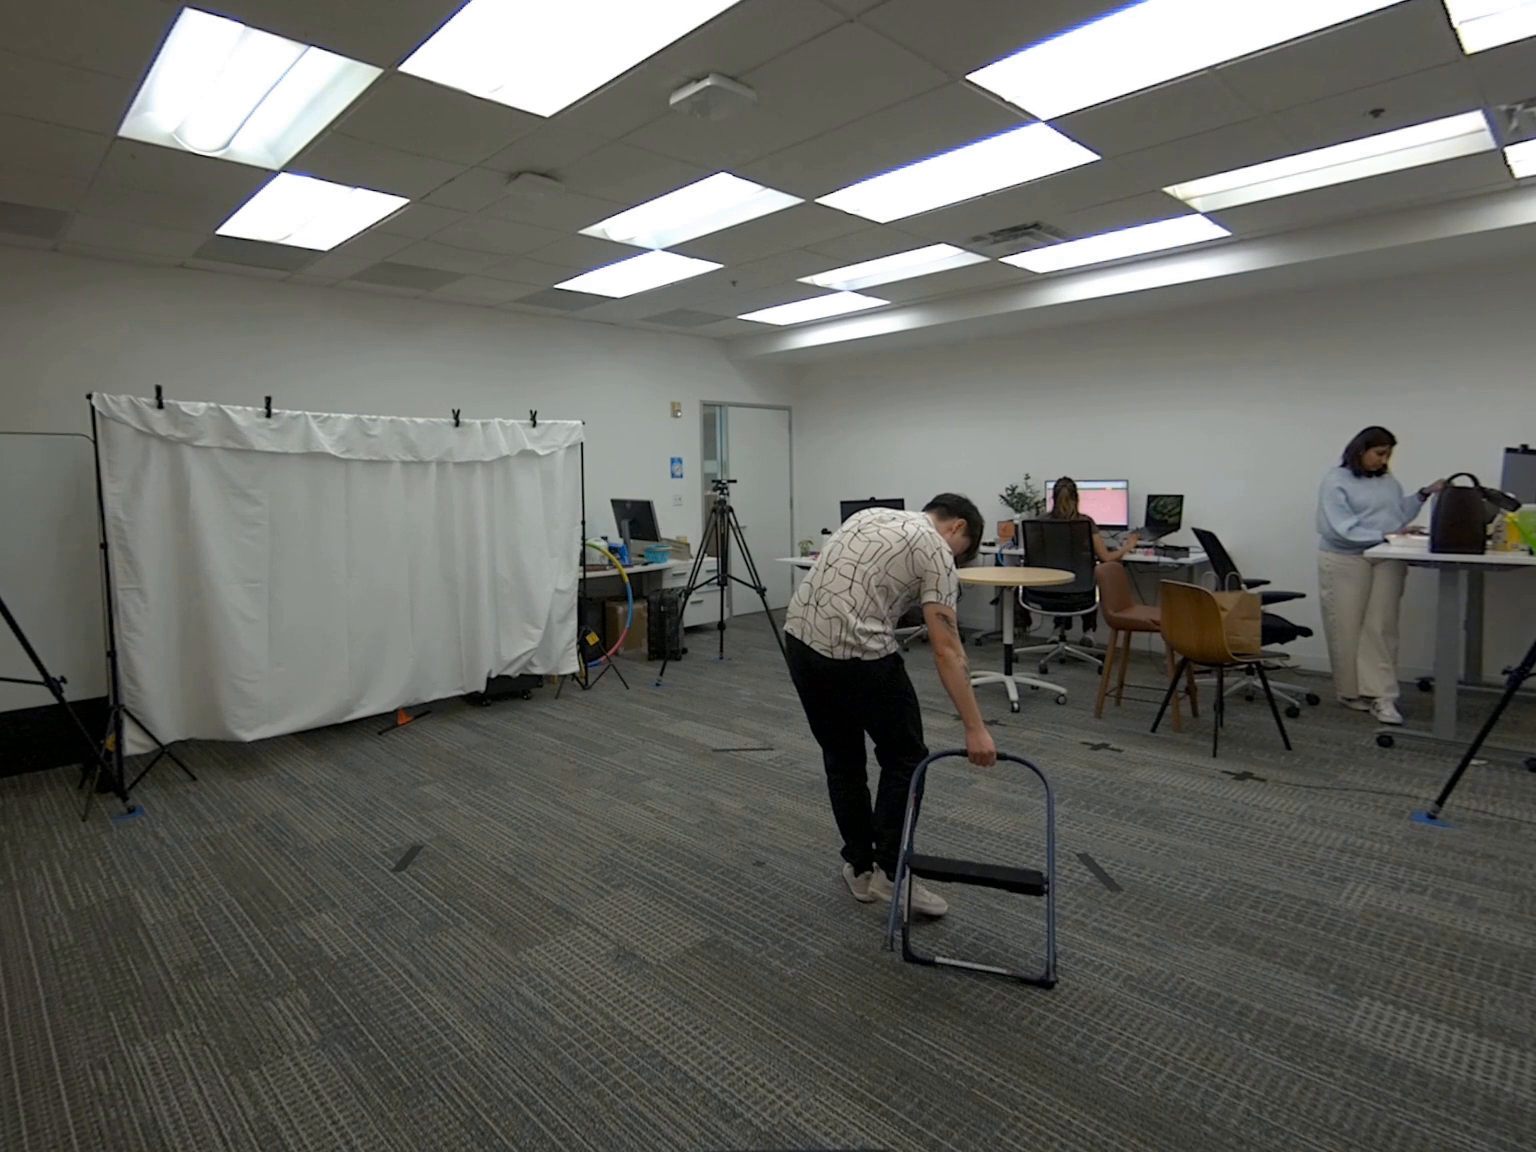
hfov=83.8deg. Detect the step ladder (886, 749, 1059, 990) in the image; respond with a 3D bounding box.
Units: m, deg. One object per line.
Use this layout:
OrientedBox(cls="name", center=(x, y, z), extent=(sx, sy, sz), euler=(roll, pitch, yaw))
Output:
OrientedBox(cls="step ladder", center=(0.595, 0.779, 2.400), extent=(0.439, 0.616, 0.337), euler=(1, -27, 20))
